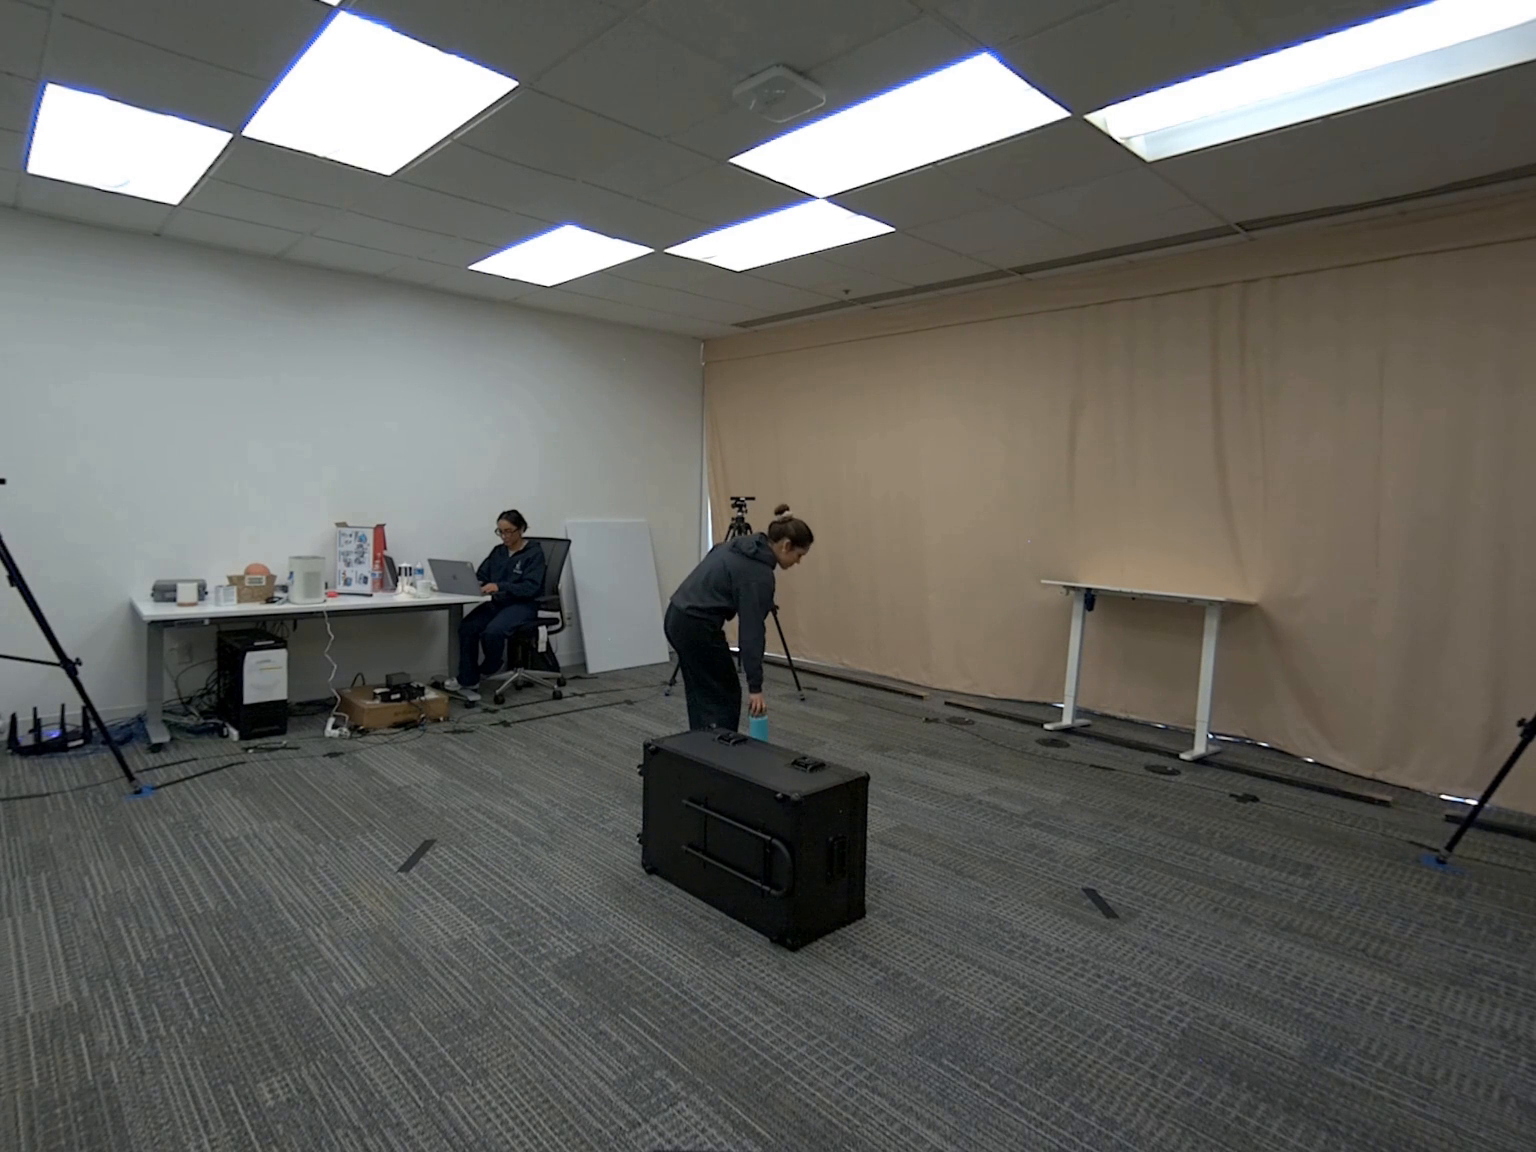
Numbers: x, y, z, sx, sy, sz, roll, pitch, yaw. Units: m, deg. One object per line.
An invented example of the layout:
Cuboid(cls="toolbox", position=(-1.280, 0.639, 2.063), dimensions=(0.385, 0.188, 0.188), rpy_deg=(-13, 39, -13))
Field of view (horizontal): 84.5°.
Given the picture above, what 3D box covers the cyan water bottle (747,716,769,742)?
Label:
Cuboid(cls="cyan water bottle", position=(-0.064, 0.734, 3.985), dimensions=(0.092, 0.281, 0.093), rpy_deg=(-2, 11, -1))
